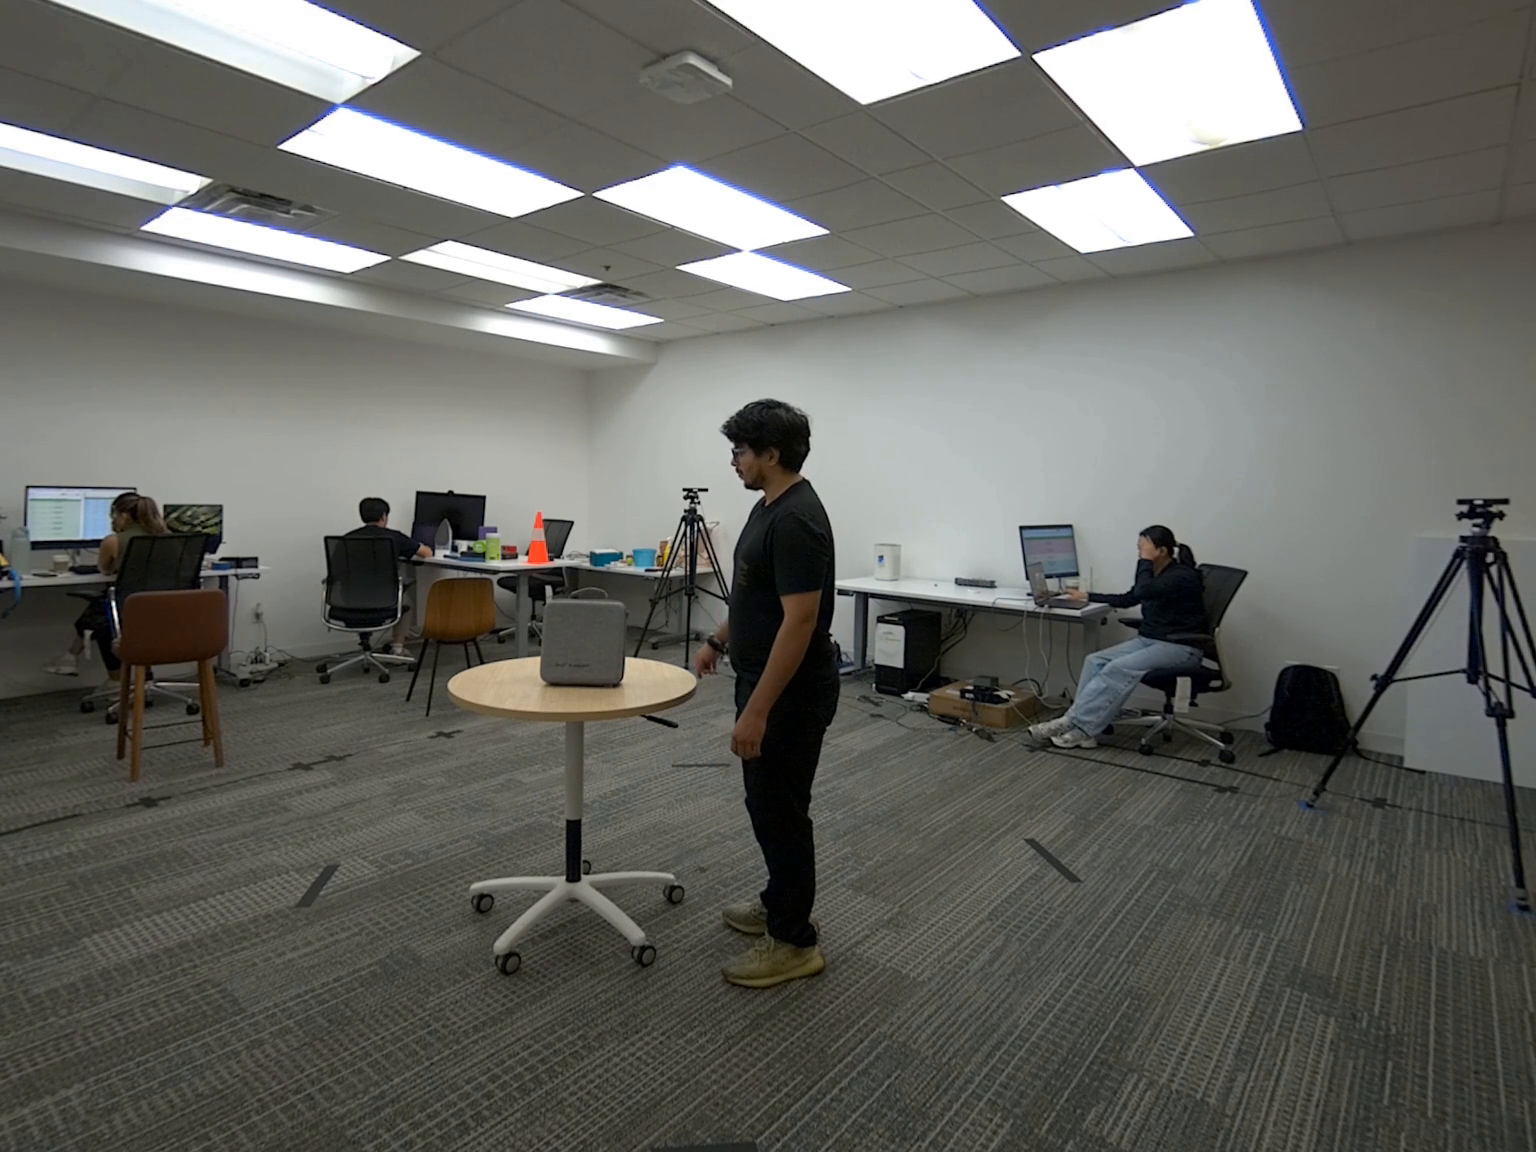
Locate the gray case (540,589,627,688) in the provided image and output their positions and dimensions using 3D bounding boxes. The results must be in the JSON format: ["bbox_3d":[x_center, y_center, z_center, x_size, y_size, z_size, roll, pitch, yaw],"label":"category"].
[{"bbox_3d":[-0.582,0.203,2.622,0.257,0.262,0.103,2,-7,1],"label":"gray case"}]
